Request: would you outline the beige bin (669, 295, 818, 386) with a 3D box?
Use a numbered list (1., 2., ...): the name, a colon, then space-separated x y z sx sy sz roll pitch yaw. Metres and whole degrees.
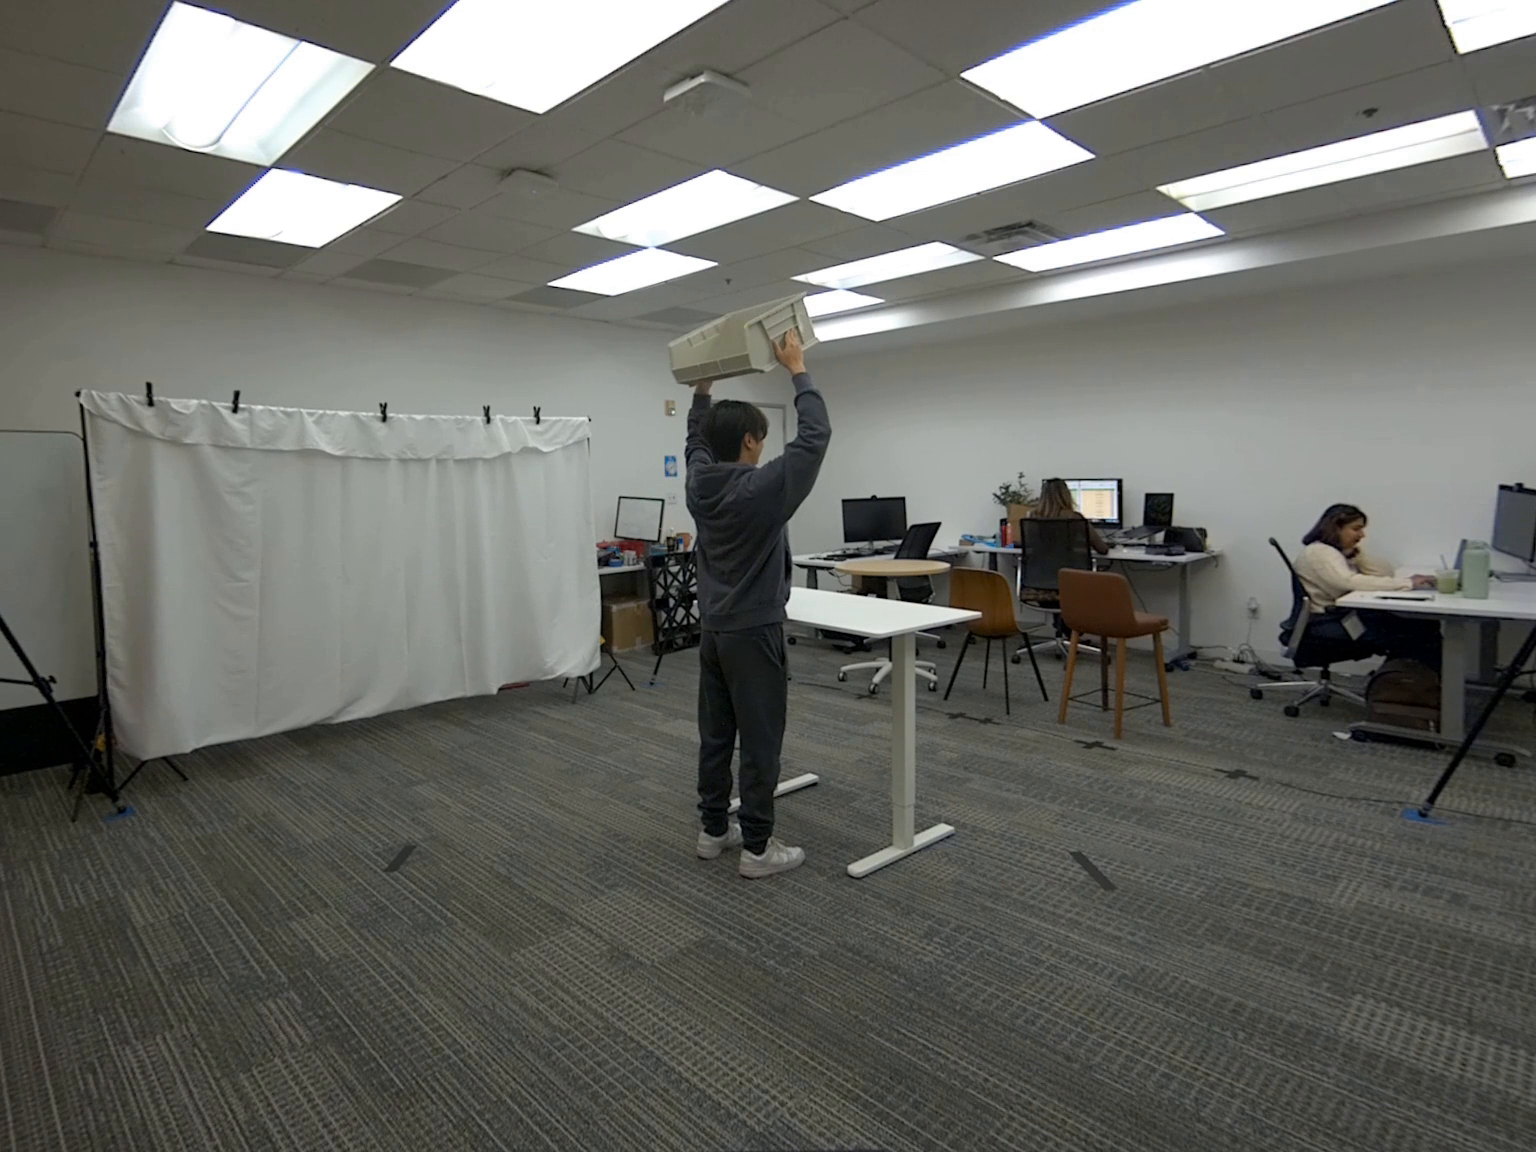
1. beige bin: -0.090 -0.839 3.092 0.435 0.185 0.375 2 31 47
